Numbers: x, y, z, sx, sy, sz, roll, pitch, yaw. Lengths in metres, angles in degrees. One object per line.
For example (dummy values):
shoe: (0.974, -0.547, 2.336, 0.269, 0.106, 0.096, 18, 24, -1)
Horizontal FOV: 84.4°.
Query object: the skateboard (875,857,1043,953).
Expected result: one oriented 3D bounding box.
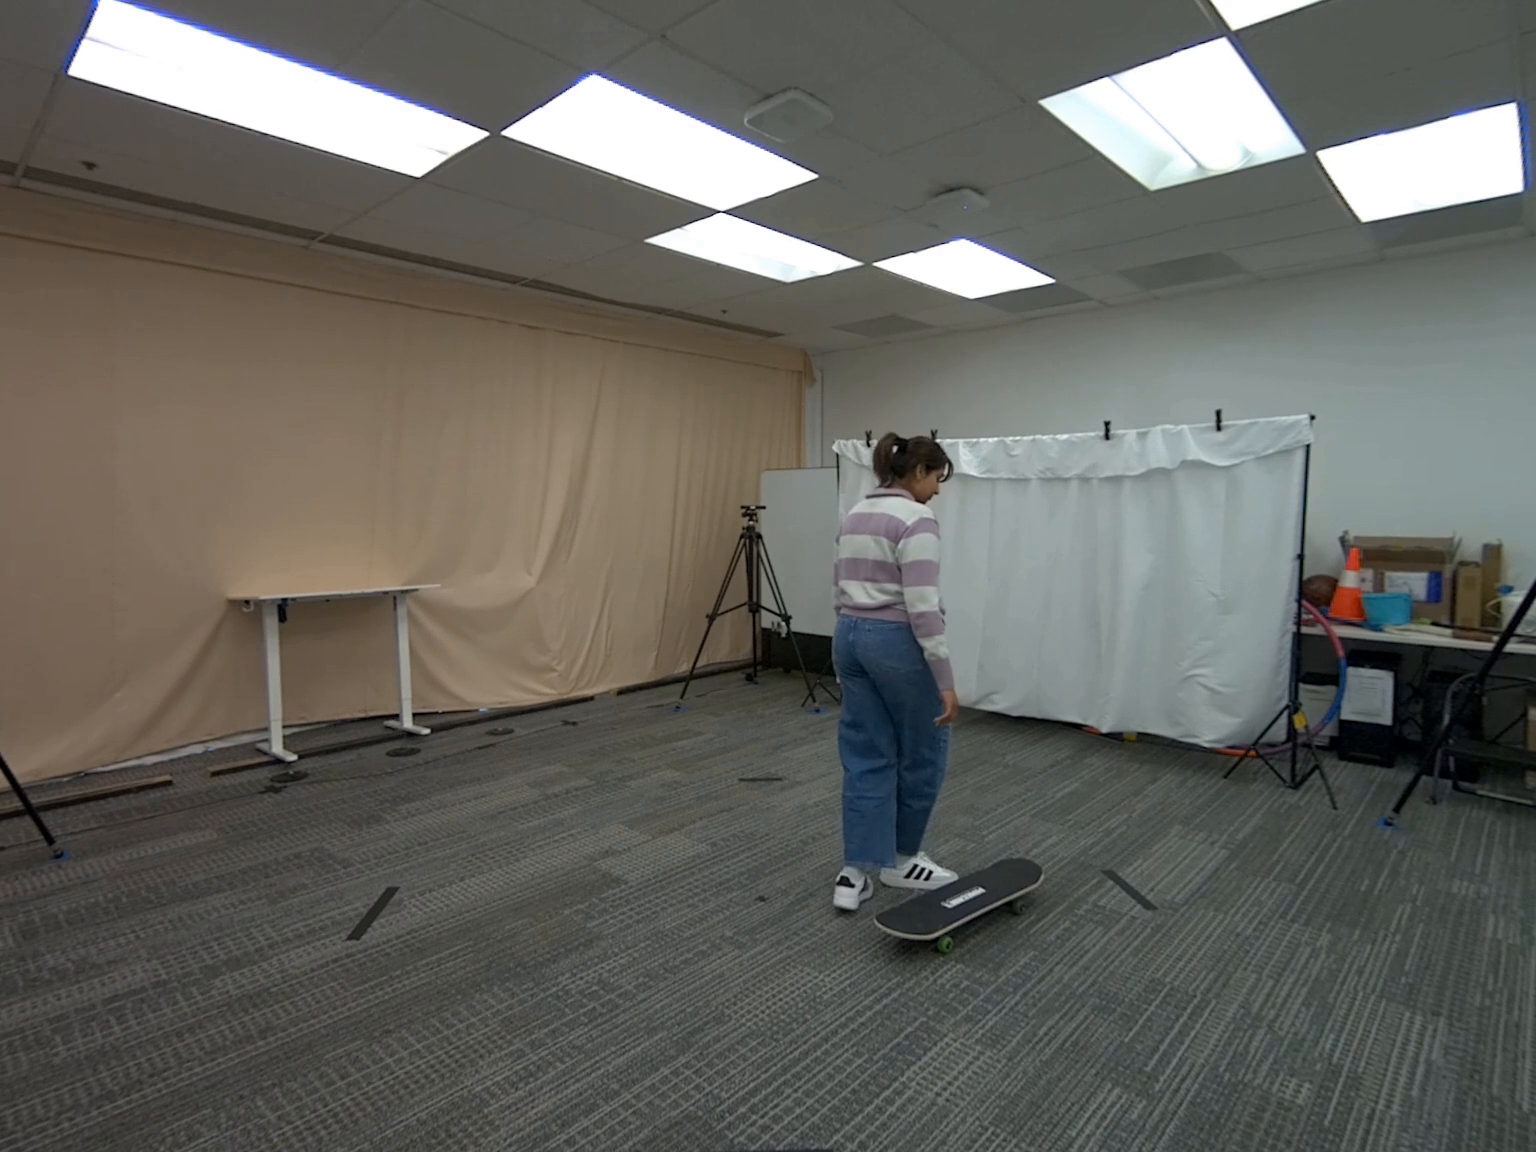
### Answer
skateboard: (0.652, 1.098, 2.803, 0.762, 0.110, 0.200, -5, 6, -39)
